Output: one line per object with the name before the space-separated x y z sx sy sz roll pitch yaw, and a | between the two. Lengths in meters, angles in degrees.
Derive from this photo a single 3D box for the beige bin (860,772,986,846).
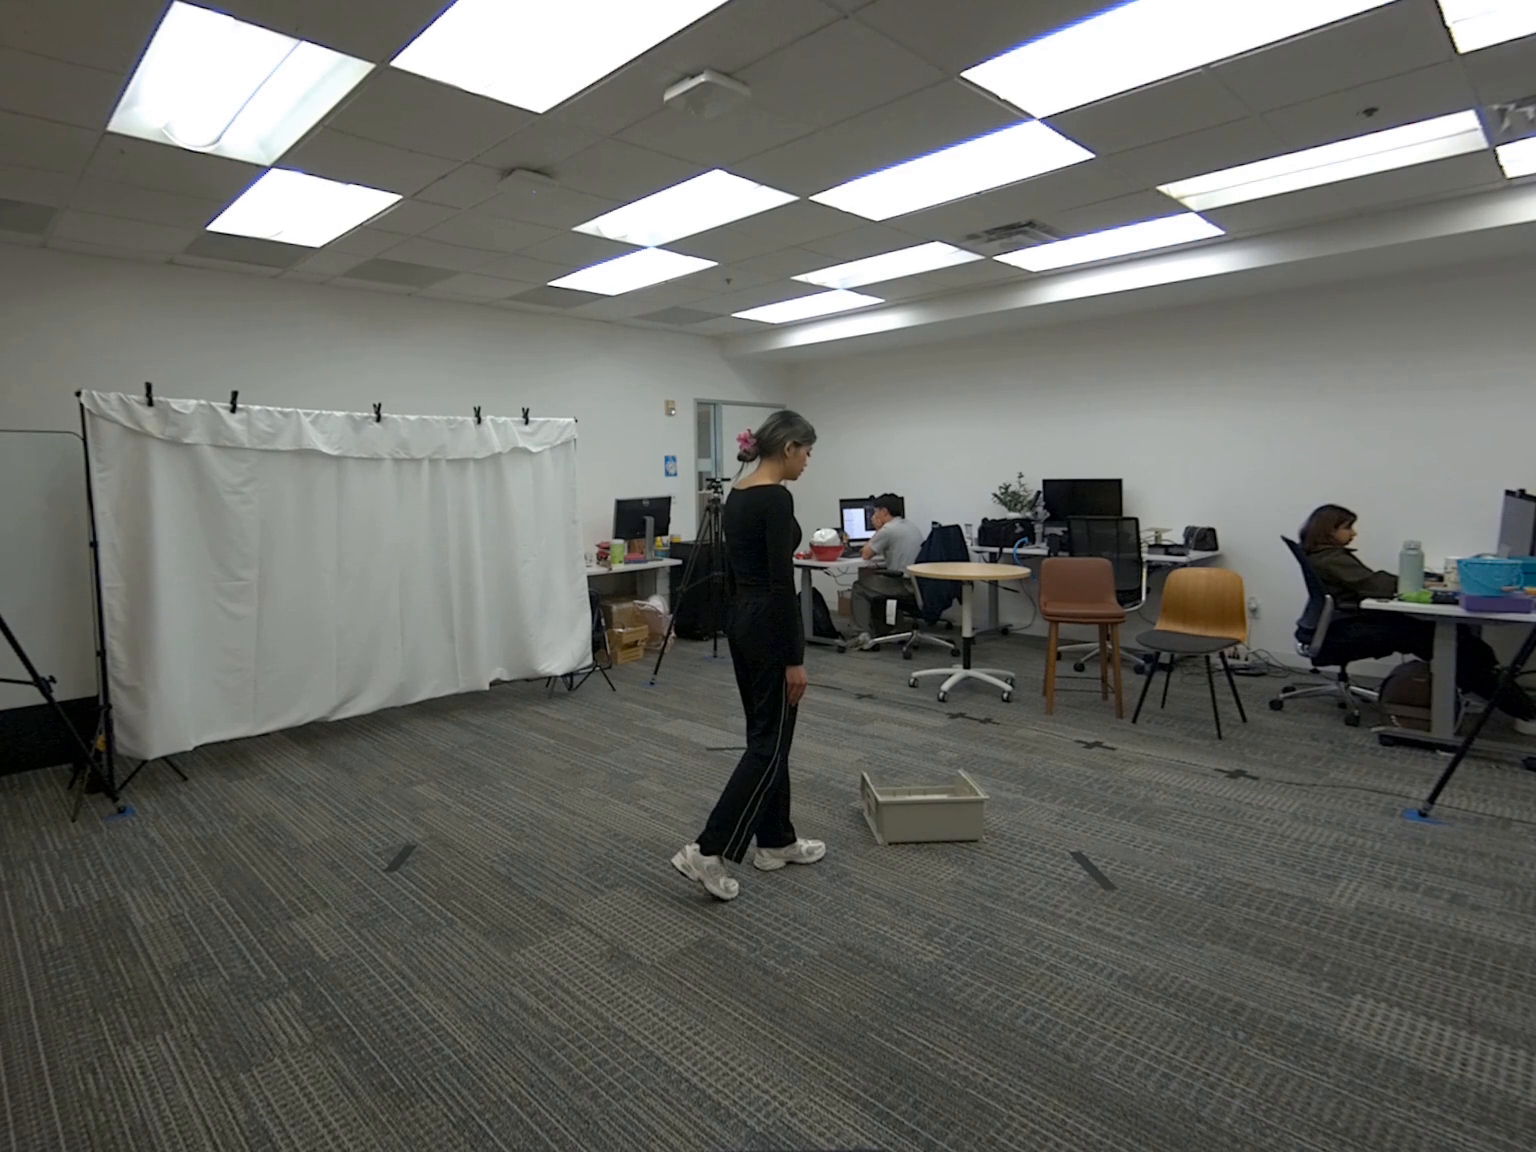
beige bin | 0.614 0.909 3.410 0.421 0.188 0.380 -1 6 -4
